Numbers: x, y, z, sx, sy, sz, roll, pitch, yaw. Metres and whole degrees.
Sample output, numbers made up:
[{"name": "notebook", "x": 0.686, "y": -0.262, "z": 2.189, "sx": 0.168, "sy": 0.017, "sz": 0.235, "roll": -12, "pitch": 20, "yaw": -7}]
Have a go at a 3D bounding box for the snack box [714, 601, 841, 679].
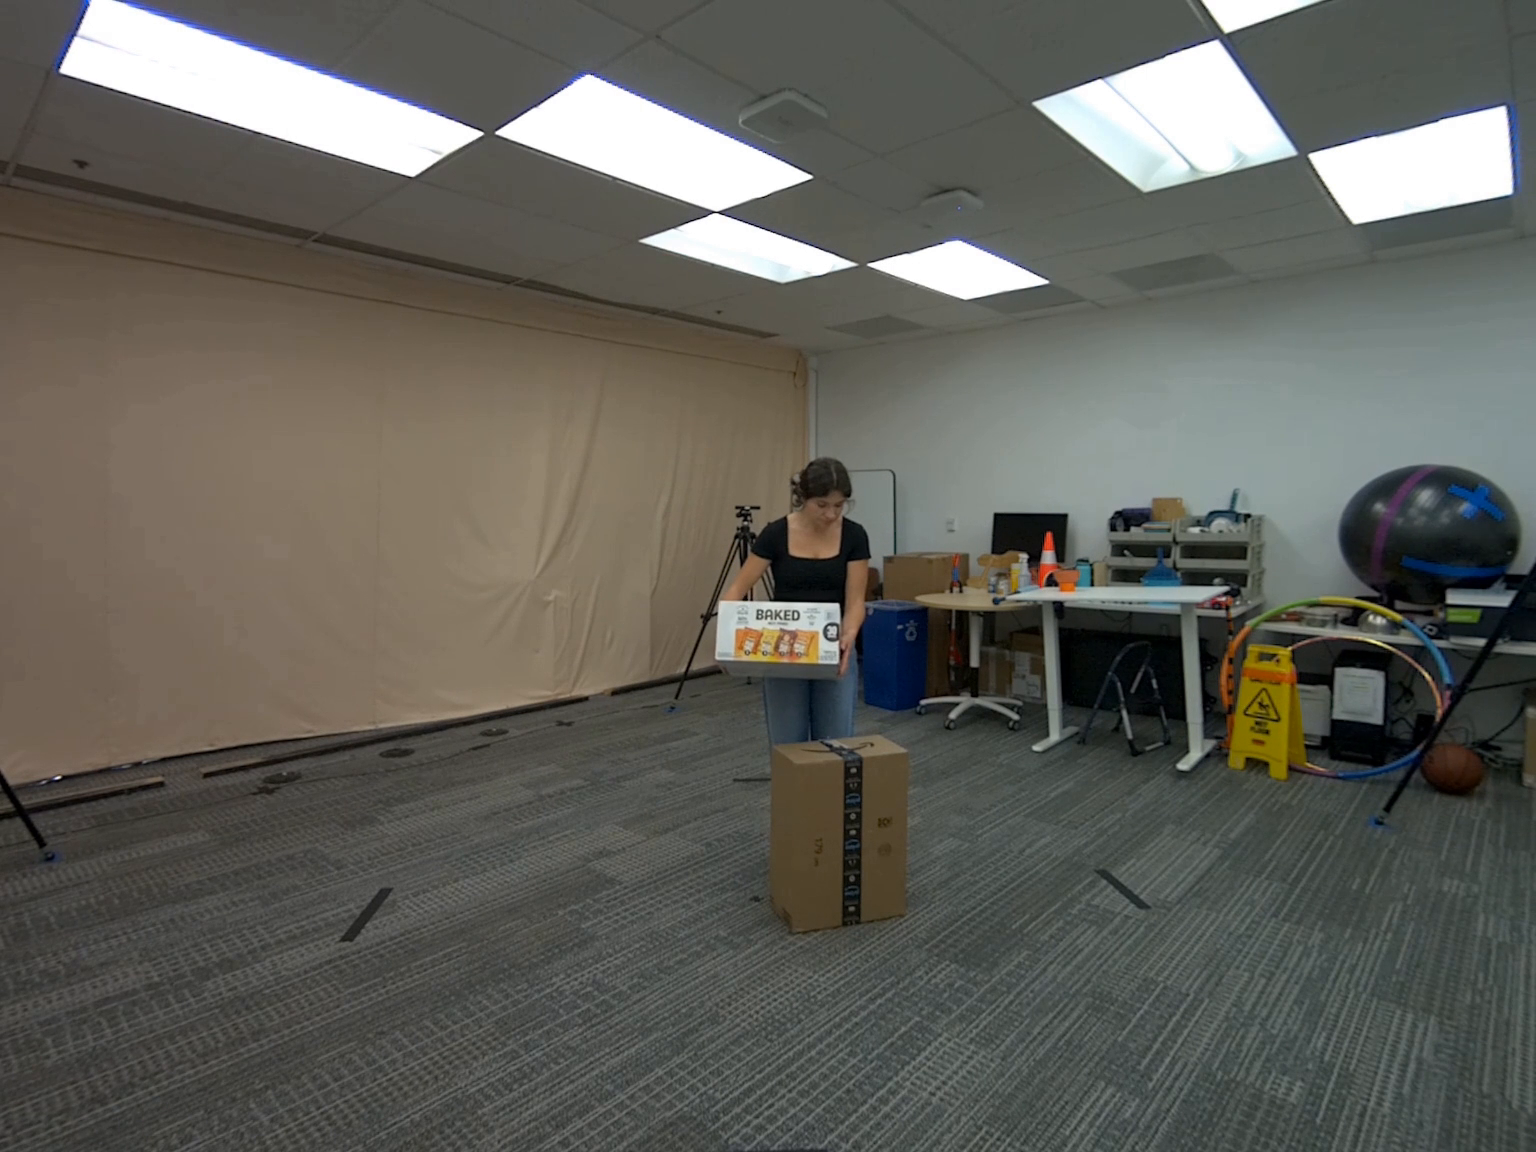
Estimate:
[{"name": "snack box", "x": 0.058, "y": 0.229, "z": 2.924, "sx": 0.409, "sy": 0.208, "sz": 0.334, "roll": 1, "pitch": -17, "yaw": 9}]
